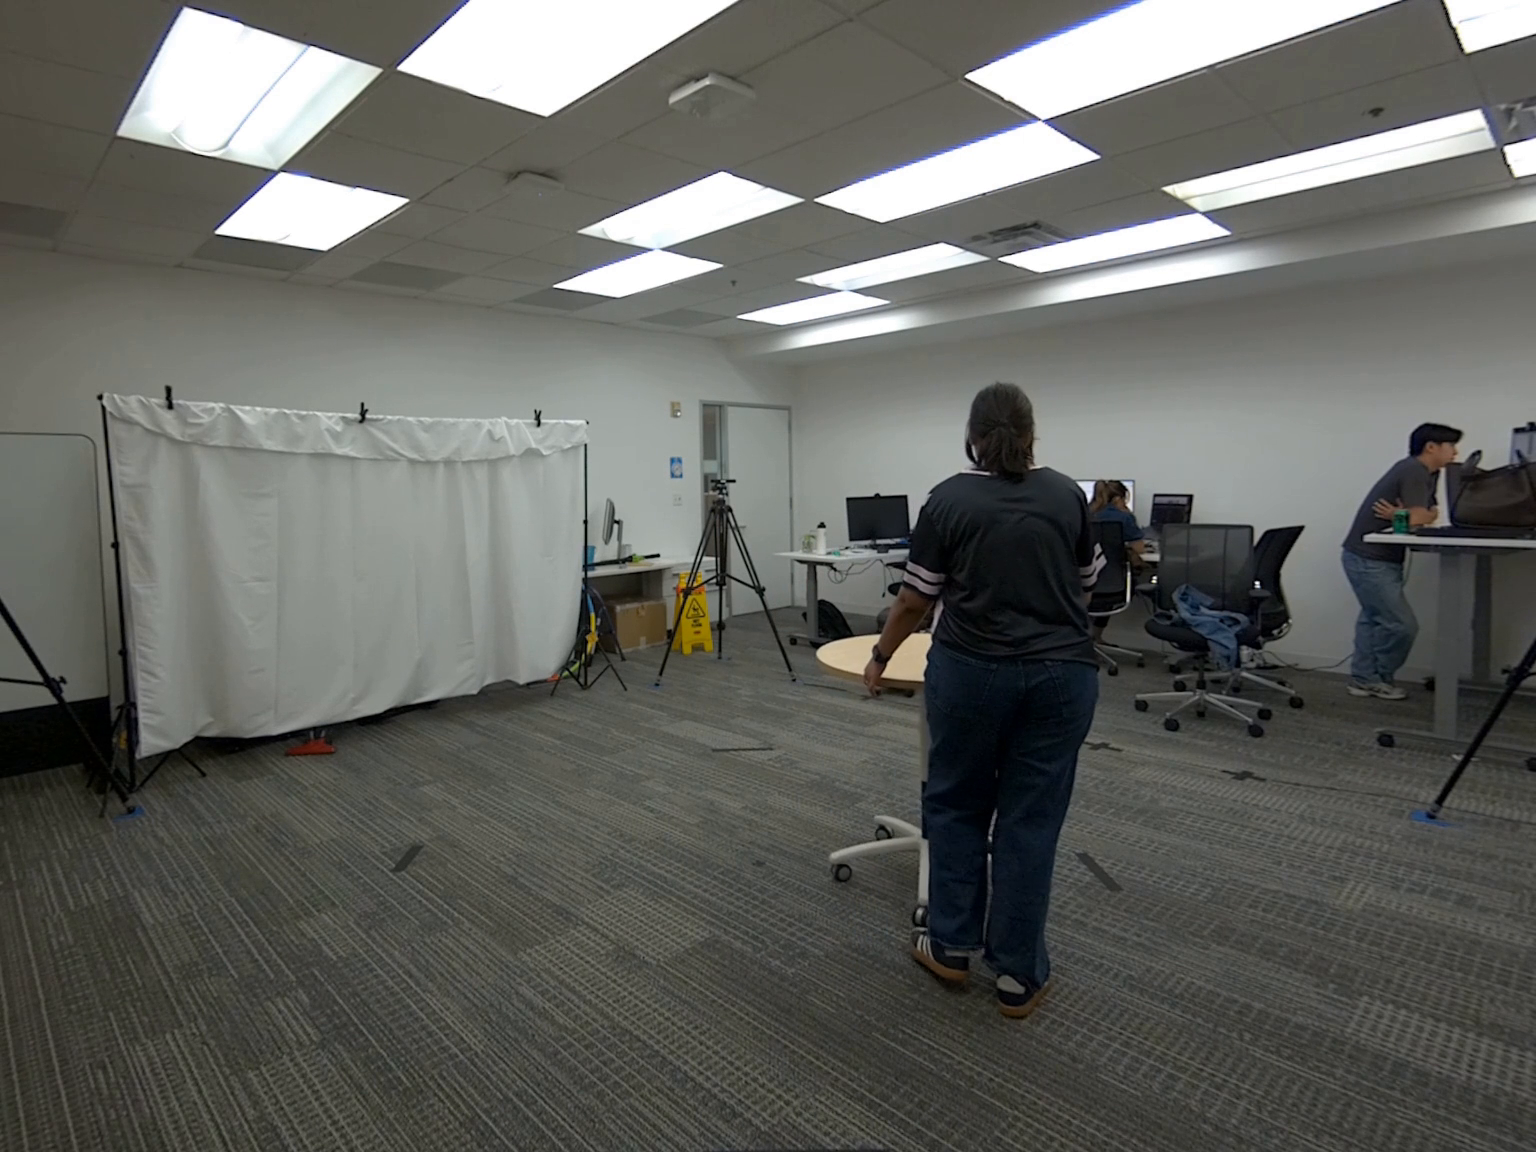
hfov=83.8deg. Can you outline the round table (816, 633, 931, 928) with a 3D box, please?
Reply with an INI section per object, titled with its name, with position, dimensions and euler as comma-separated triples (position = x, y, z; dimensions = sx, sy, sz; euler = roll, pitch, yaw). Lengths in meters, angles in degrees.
[round table]
position = 0.556, 0.657, 2.972
dimensions = 0.784, 0.783, 0.790
euler = -1, 6, -2
